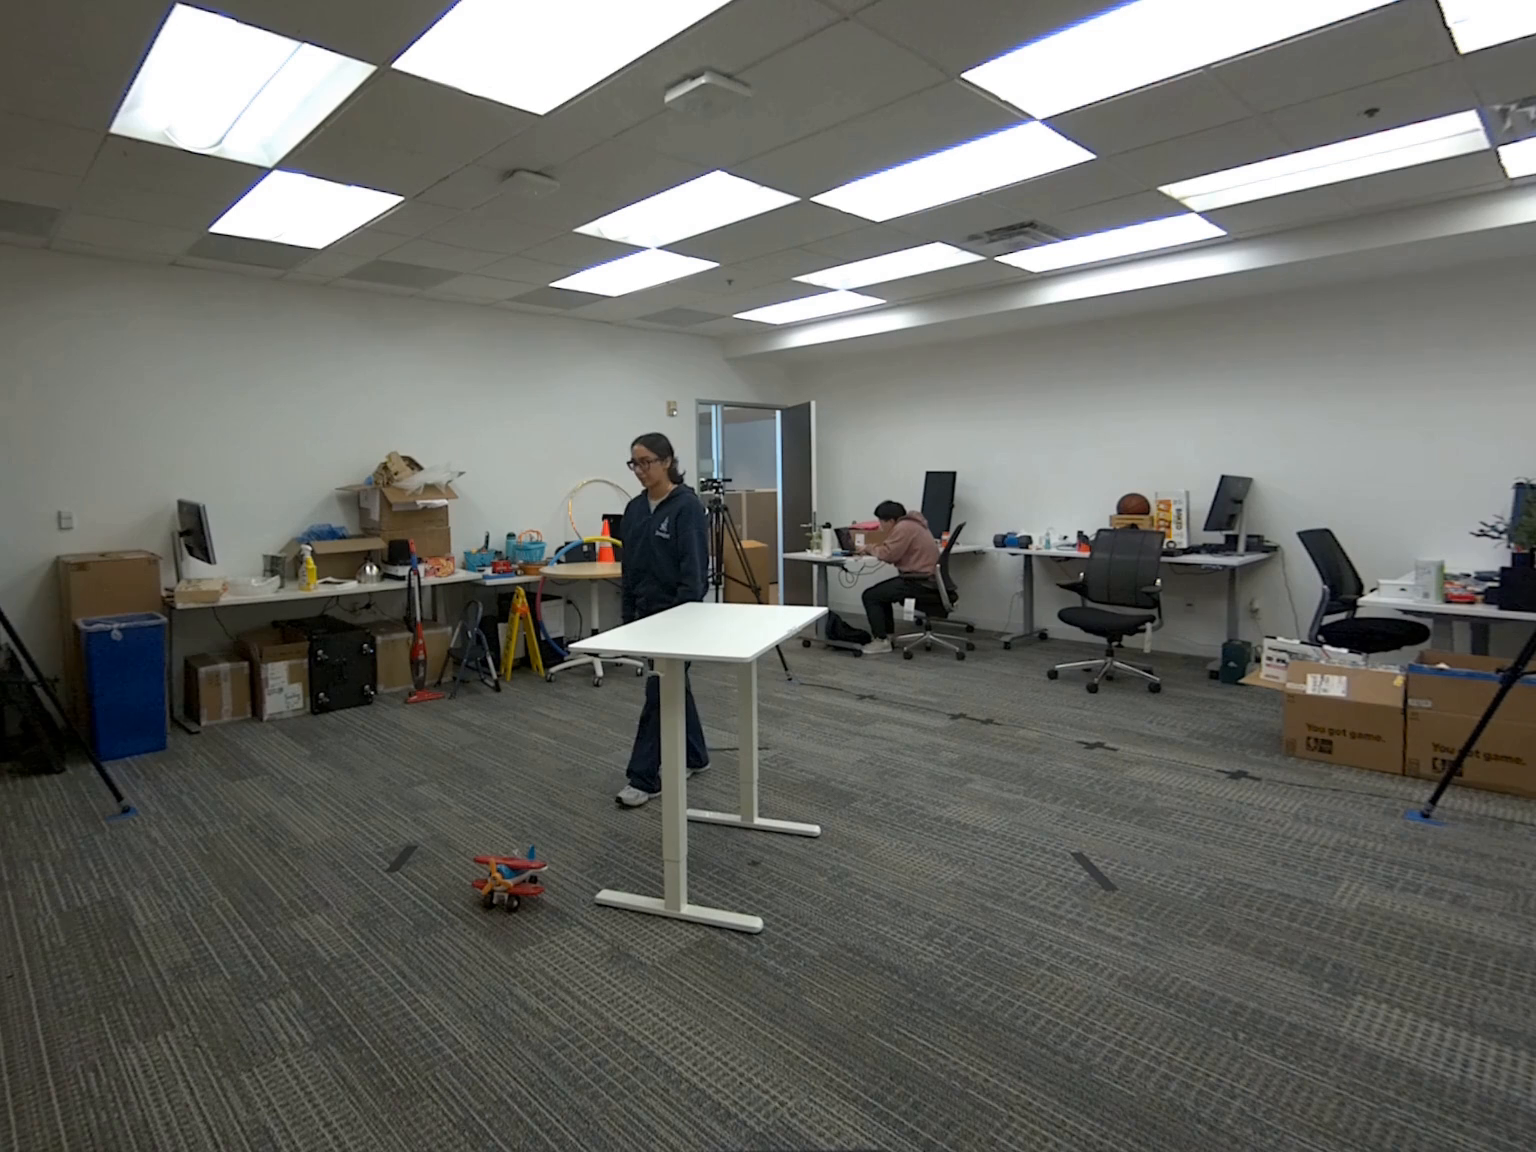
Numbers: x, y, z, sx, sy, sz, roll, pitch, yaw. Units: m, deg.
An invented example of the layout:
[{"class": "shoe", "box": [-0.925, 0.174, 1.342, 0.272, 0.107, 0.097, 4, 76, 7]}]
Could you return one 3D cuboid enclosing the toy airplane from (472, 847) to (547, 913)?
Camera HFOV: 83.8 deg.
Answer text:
[{"class": "toy airplane", "box": [-0.871, 1.014, 2.874, 0.248, 0.155, 0.264, -3, 8, -12]}]
